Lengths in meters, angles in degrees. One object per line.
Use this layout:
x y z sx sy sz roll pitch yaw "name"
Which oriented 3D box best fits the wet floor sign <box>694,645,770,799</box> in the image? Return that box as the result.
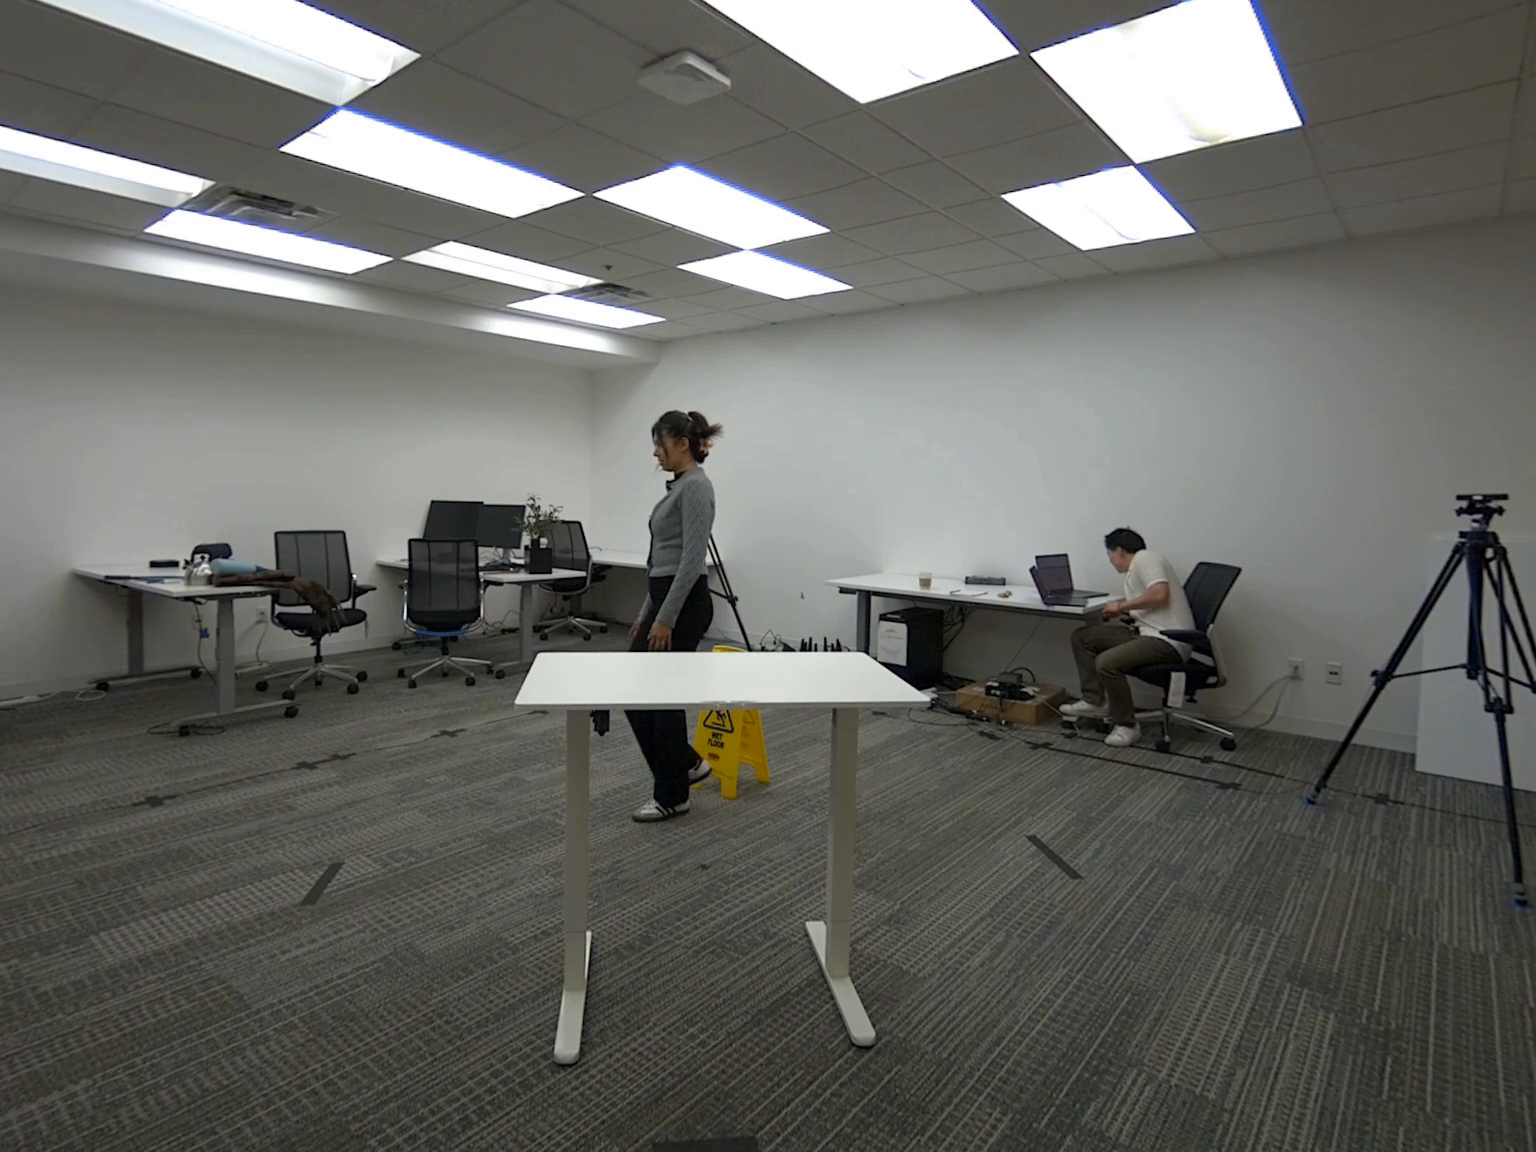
-0.189 0.656 3.993 0.291 0.644 0.281 4 3 37 "wet floor sign"
